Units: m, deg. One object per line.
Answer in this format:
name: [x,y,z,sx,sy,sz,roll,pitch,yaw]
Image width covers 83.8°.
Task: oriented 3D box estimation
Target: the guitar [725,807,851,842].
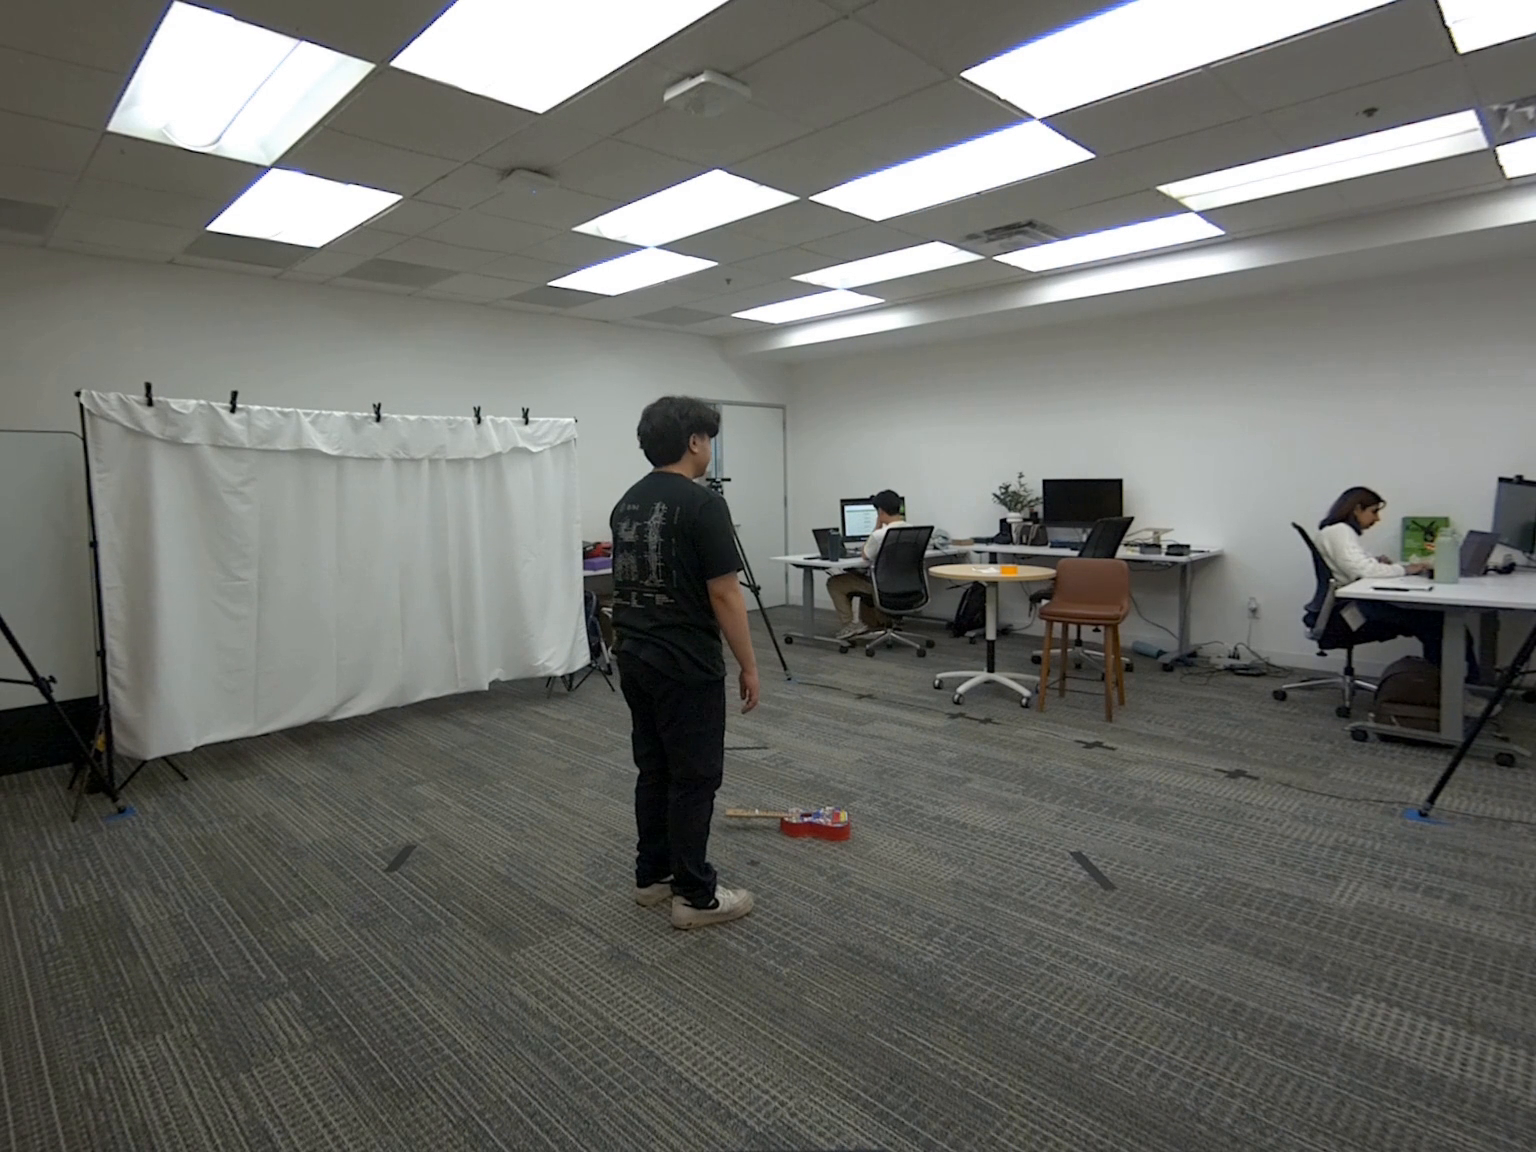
guitar: [0.084,0.969,3.421,0.505,0.070,0.191,1,7,15]
